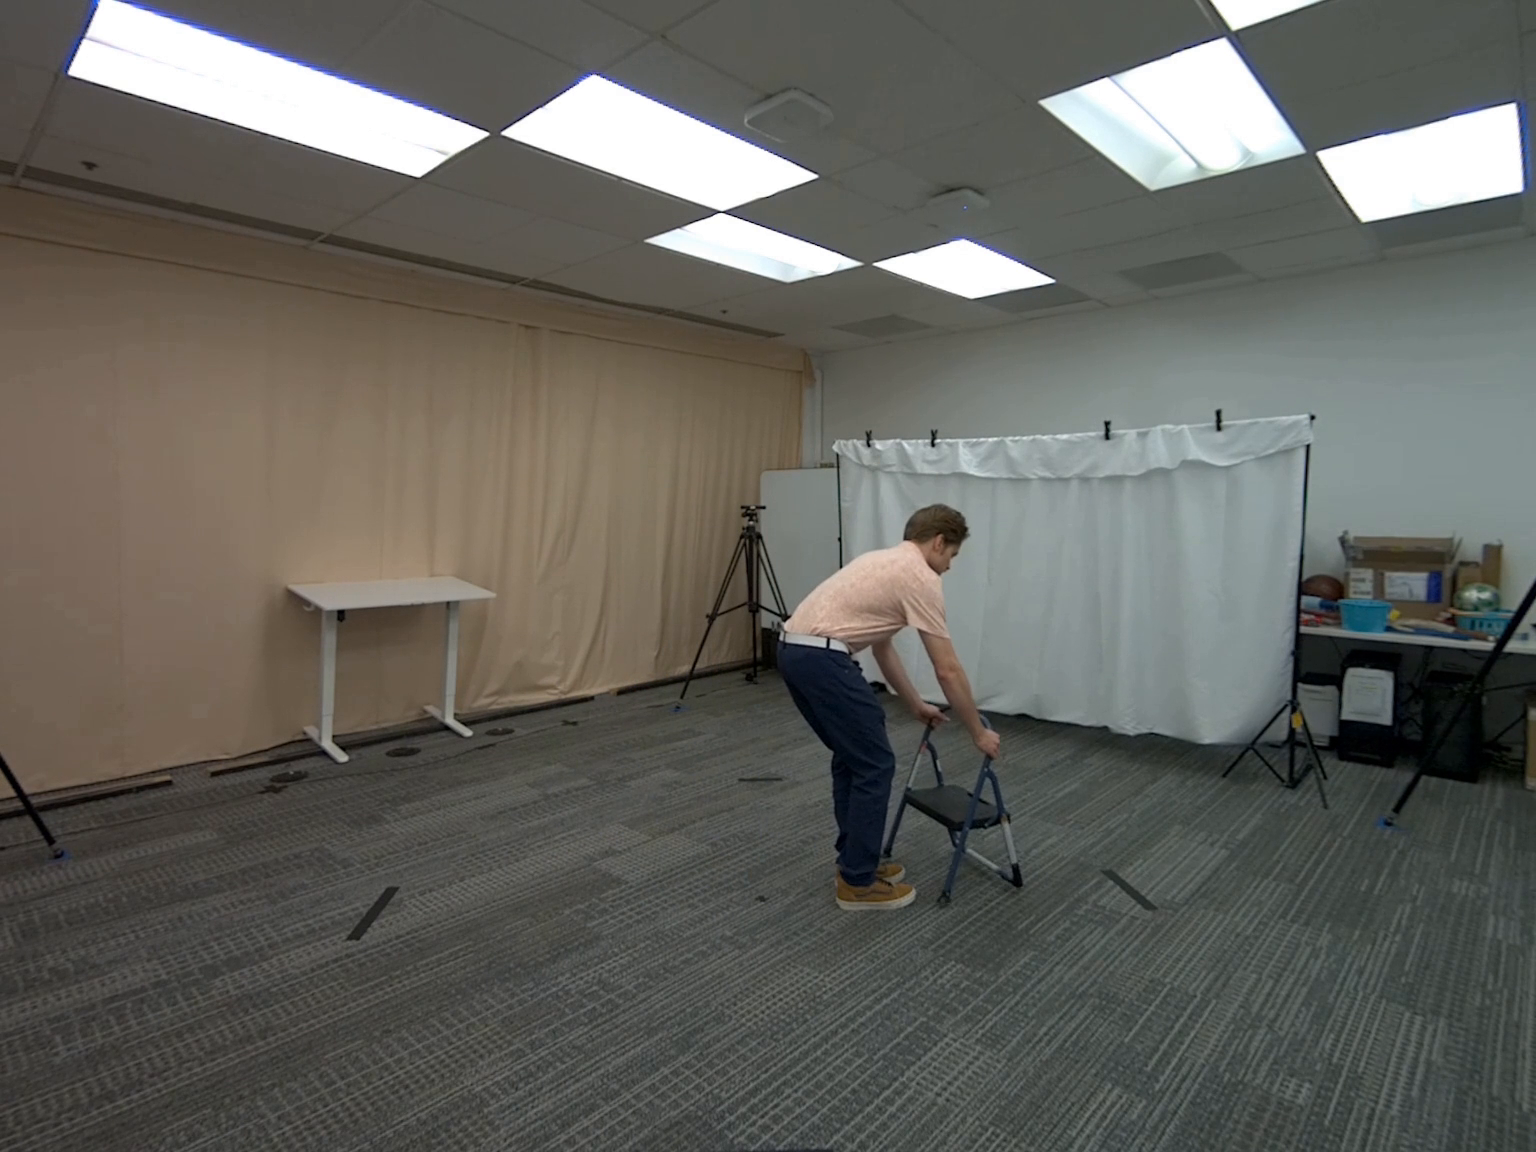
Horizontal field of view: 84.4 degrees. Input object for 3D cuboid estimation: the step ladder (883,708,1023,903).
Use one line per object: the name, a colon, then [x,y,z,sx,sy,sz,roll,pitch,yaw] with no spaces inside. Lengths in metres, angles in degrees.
step ladder: [0.681,0.799,3.135,0.342,0.605,0.440,-2,3,-21]
